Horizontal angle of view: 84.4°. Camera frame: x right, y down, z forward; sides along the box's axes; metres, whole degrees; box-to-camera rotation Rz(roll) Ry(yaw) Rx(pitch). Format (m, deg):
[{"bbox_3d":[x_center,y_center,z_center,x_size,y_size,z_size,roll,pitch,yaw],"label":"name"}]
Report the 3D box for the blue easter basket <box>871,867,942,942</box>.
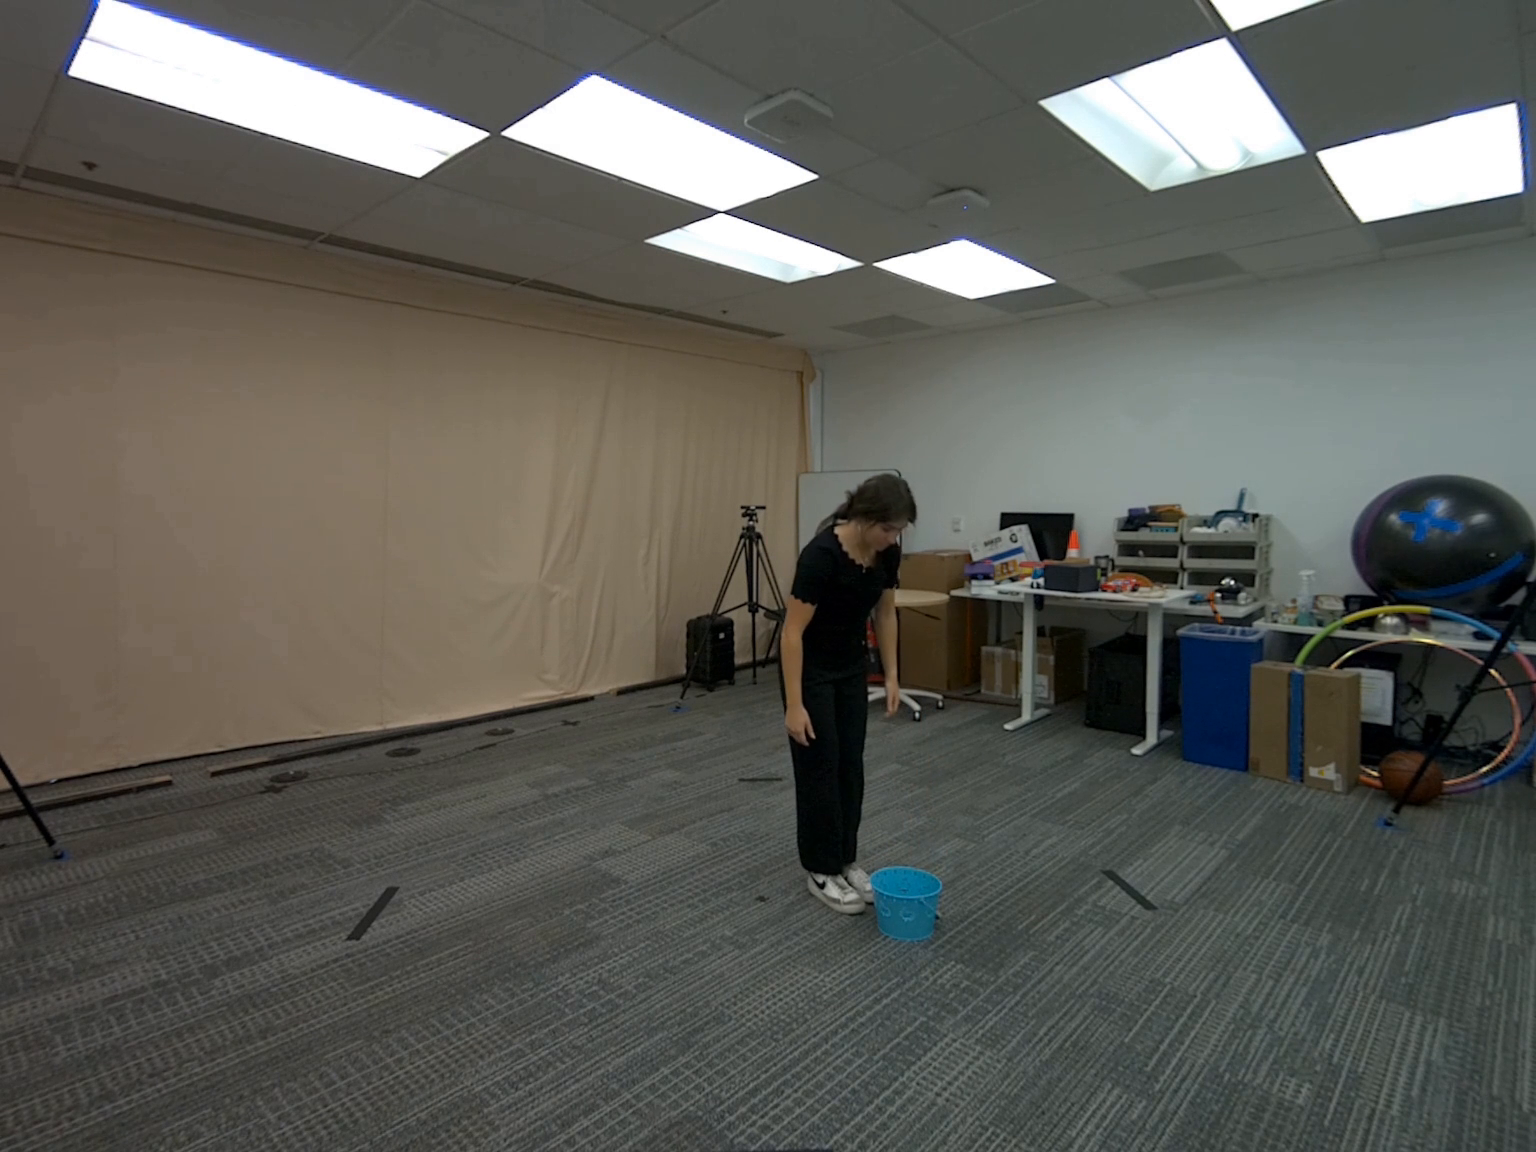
[{"bbox_3d":[0.460,1.081,2.768,0.243,0.155,0.244,0,3,-2],"label":"blue easter basket"}]
